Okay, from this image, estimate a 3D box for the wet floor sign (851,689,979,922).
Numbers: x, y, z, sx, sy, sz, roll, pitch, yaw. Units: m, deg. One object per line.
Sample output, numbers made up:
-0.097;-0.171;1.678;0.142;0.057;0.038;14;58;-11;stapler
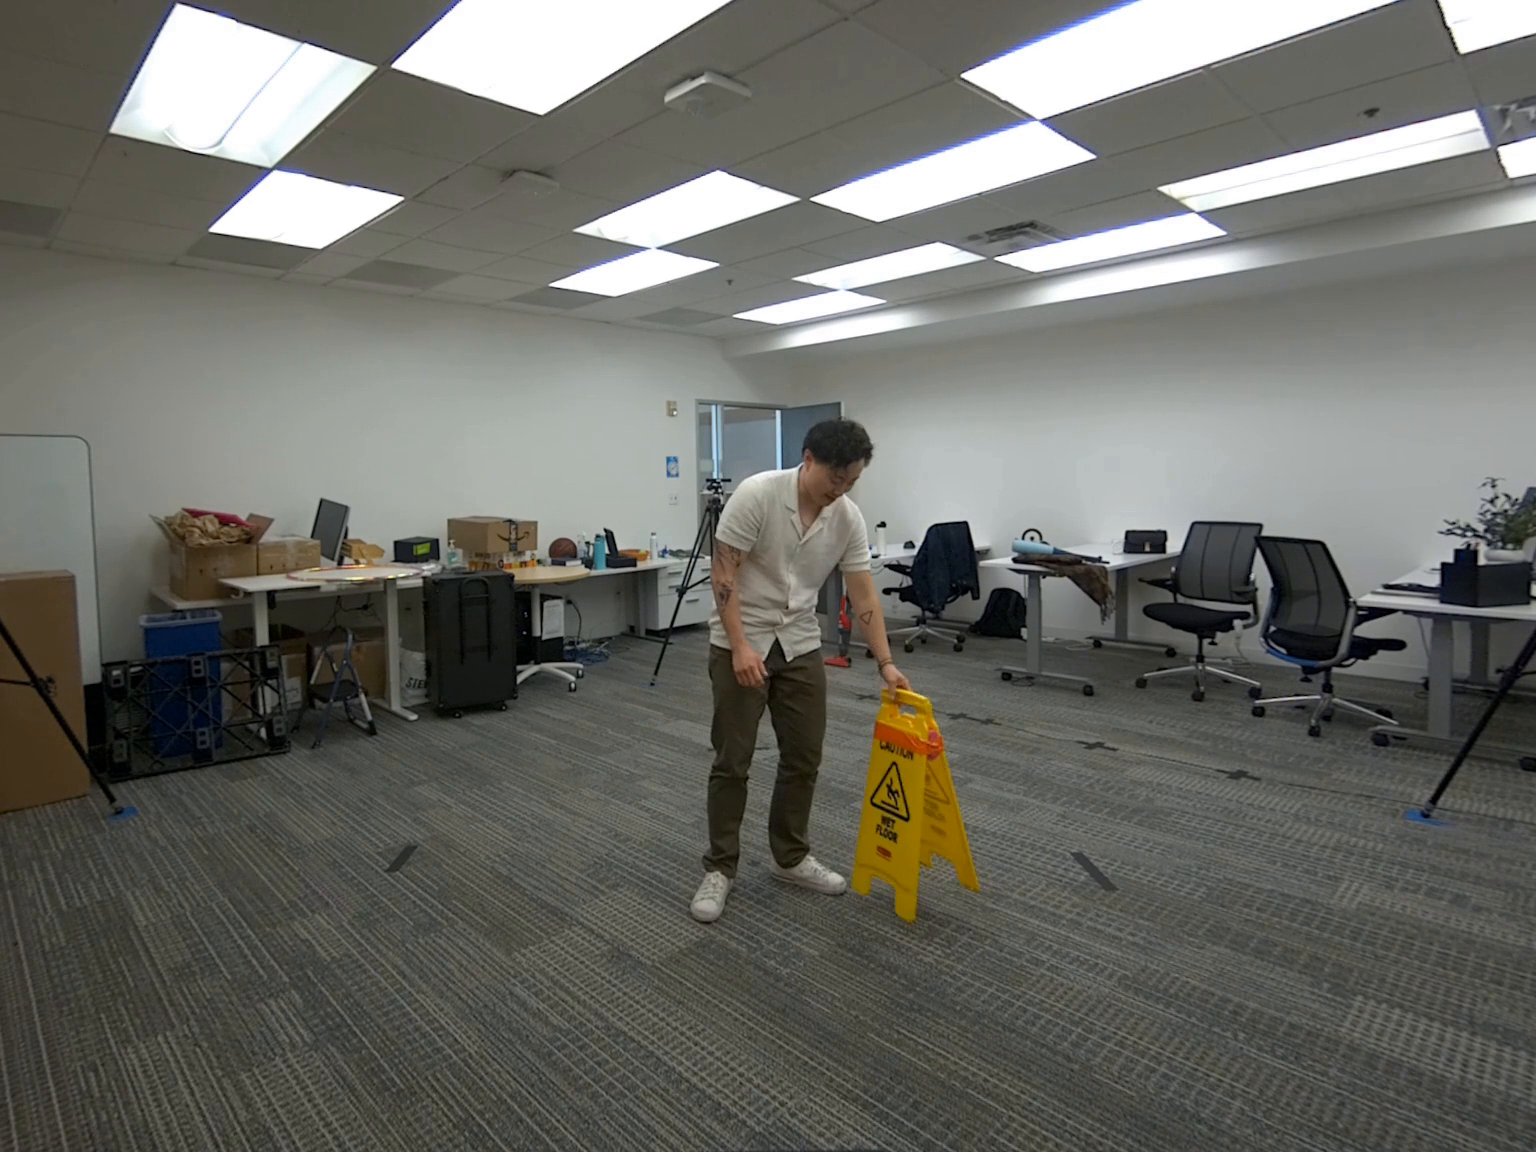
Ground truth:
0.447;0.675;2.690;0.283;0.643;0.290;-7;5;-33;wet floor sign
